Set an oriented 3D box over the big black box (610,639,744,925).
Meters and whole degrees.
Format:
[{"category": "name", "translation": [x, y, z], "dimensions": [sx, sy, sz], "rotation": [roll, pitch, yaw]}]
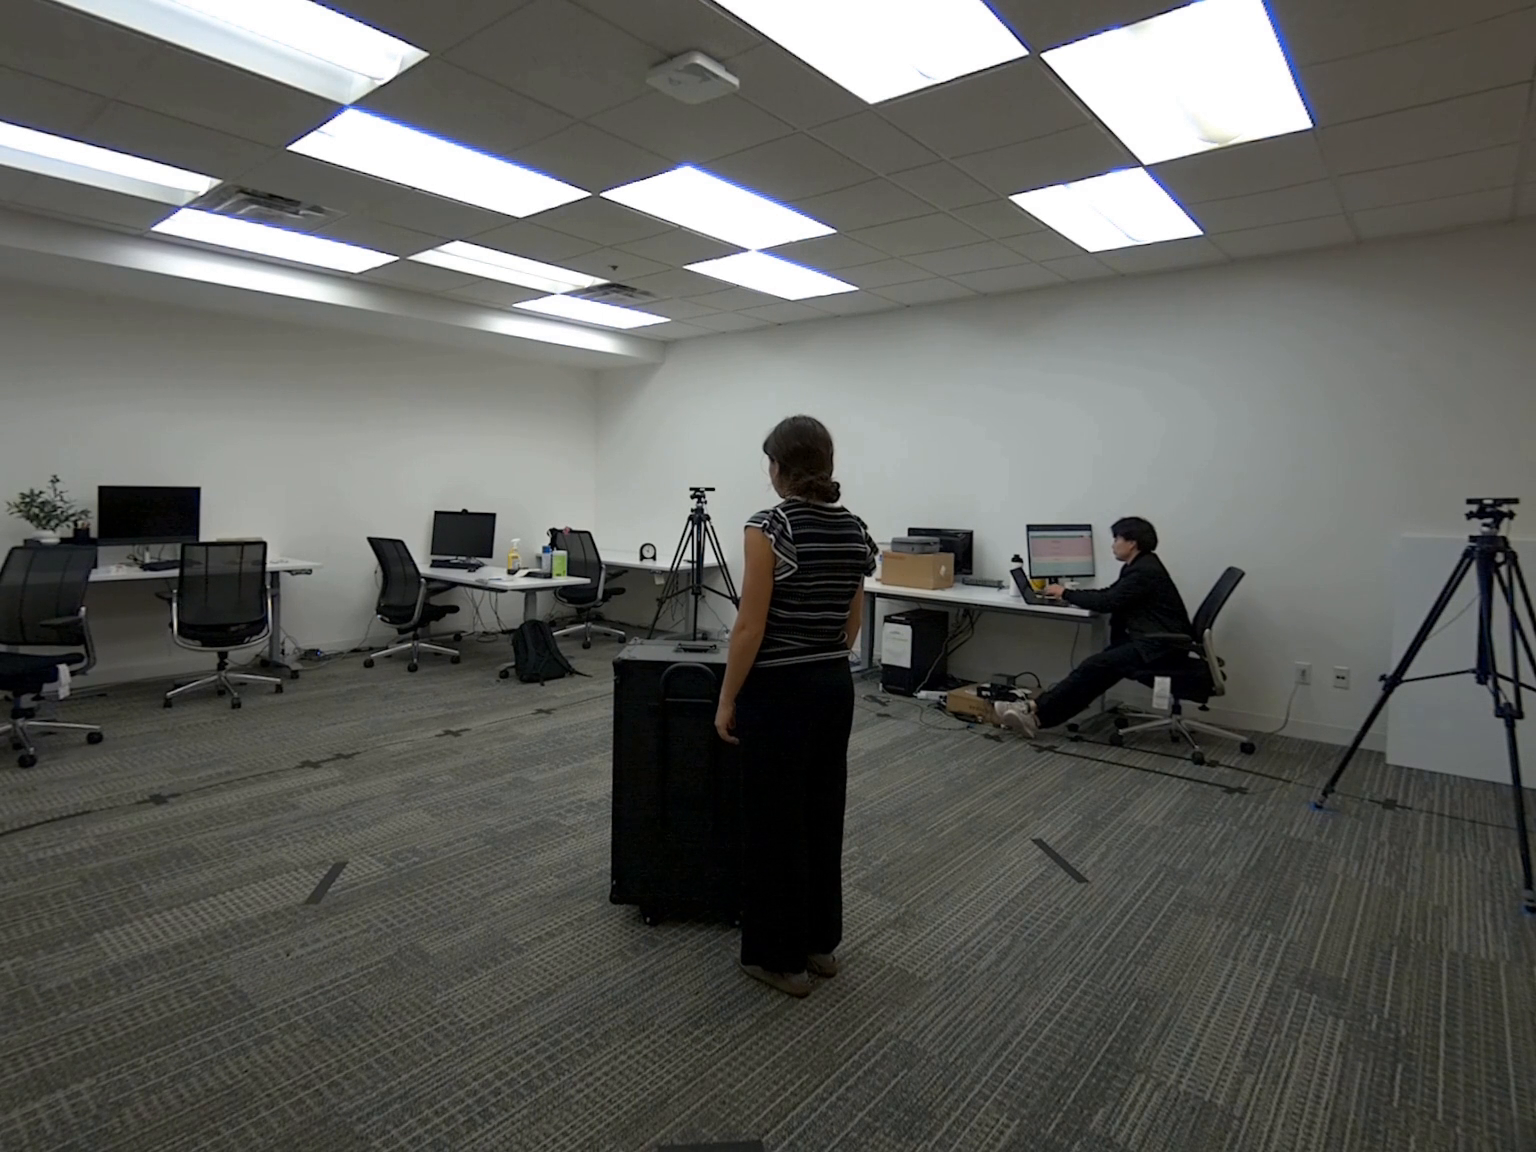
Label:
[{"category": "big black box", "translation": [-0.257, 0.667, 2.811], "dimensions": [0.524, 0.859, 0.396], "rotation": [3, 4, 4]}]
